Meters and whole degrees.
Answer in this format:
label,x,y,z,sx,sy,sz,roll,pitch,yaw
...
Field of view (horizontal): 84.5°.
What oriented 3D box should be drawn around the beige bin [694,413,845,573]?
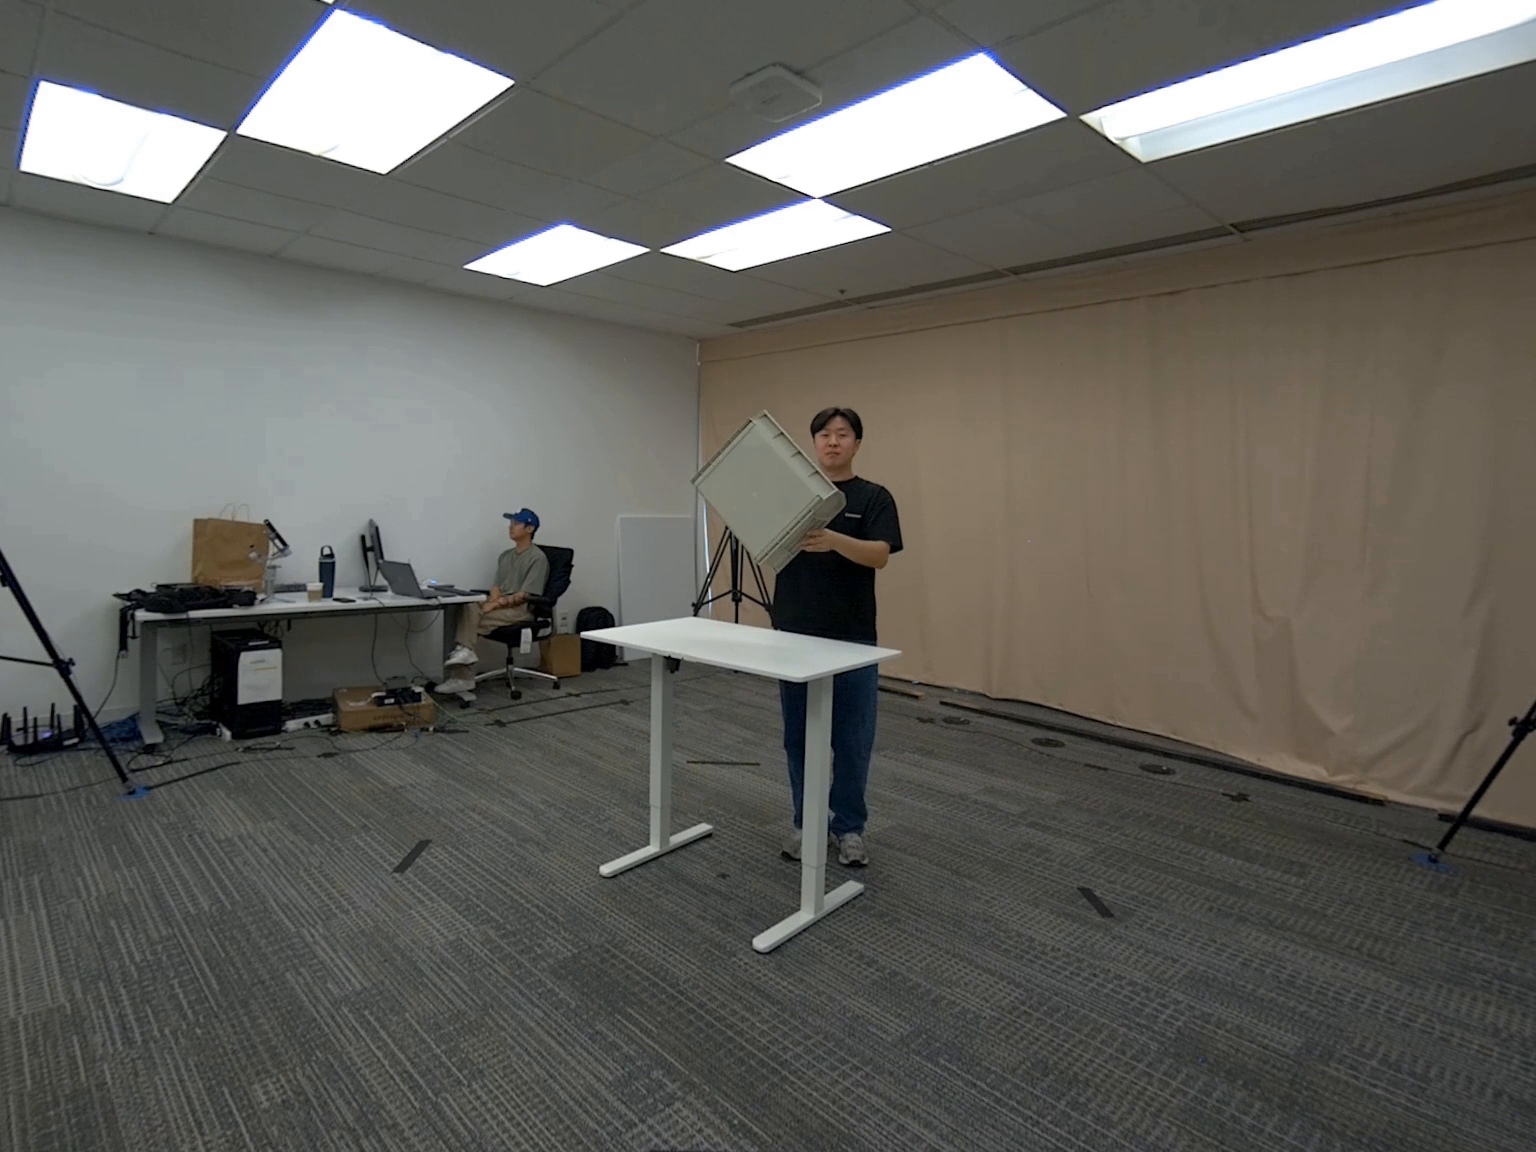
label,x,y,z,sx,sy,sz,roll,pitch,yaw
beige bin,-0.001,-0.292,2.946,0.431,0.377,0.185,51,16,20
